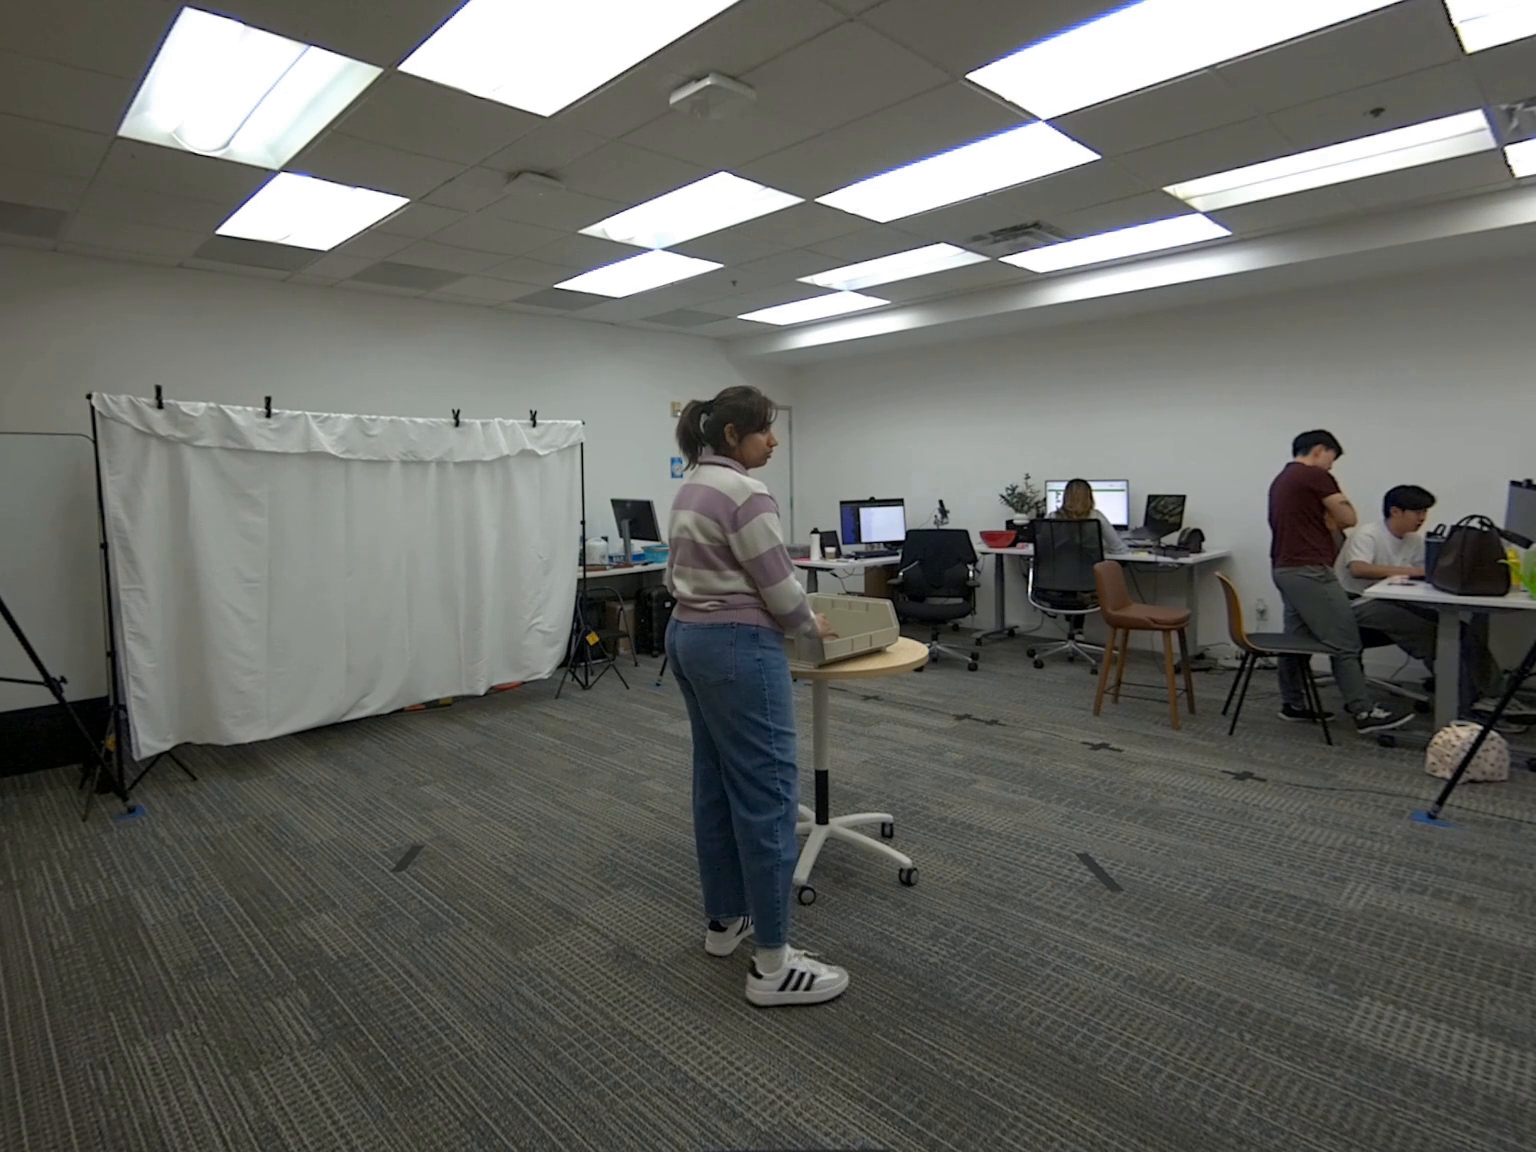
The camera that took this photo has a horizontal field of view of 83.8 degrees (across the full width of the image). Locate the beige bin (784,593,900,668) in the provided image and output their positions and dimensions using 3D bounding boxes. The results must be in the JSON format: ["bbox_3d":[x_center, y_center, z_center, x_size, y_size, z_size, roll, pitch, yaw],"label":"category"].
[{"bbox_3d":[0.179,0.184,2.968,0.388,0.188,0.411,2,6,44],"label":"beige bin"}]
